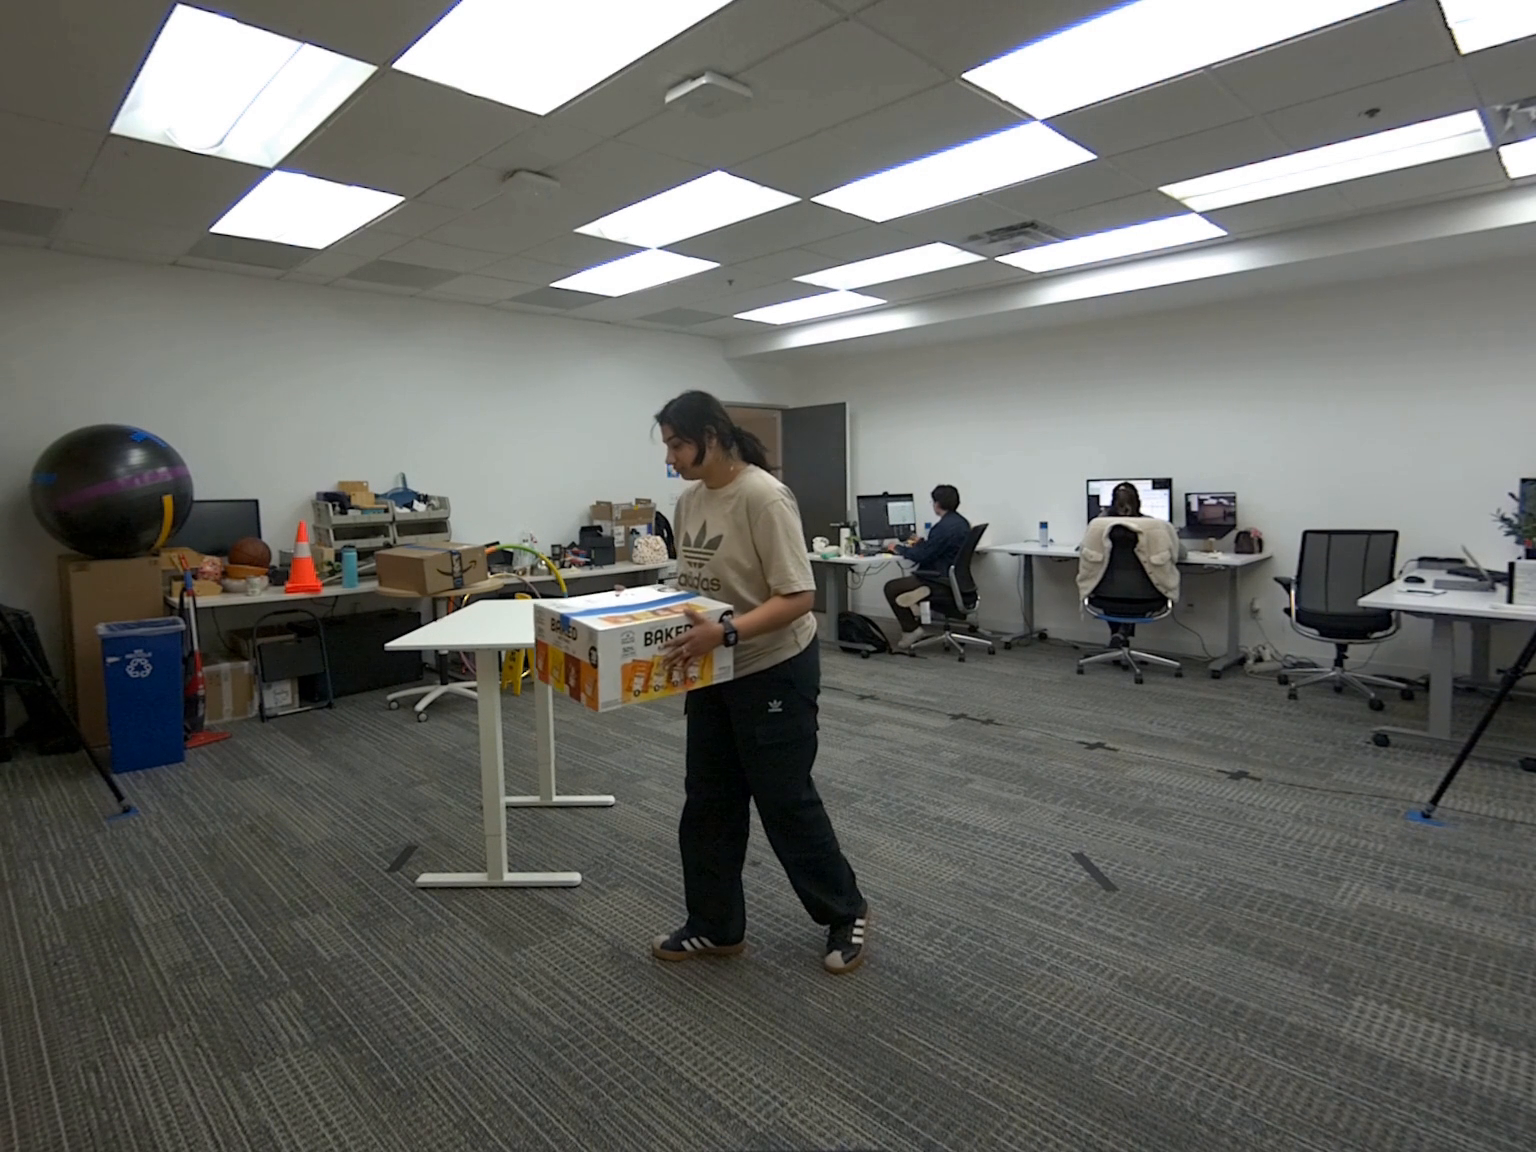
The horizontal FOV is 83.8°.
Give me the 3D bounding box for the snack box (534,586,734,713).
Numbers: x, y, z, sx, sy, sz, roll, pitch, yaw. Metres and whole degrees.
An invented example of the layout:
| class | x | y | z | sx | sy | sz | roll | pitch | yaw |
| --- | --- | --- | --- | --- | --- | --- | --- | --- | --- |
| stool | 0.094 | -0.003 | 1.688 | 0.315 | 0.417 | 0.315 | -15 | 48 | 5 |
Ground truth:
| class | x | y | z | sx | sy | sz | roll | pitch | yaw |
| --- | --- | --- | --- | --- | --- | --- | --- | --- | --- |
| snack box | -0.342 | 0.173 | 2.225 | 0.395 | 0.204 | 0.352 | -8 | 13 | -39 |
